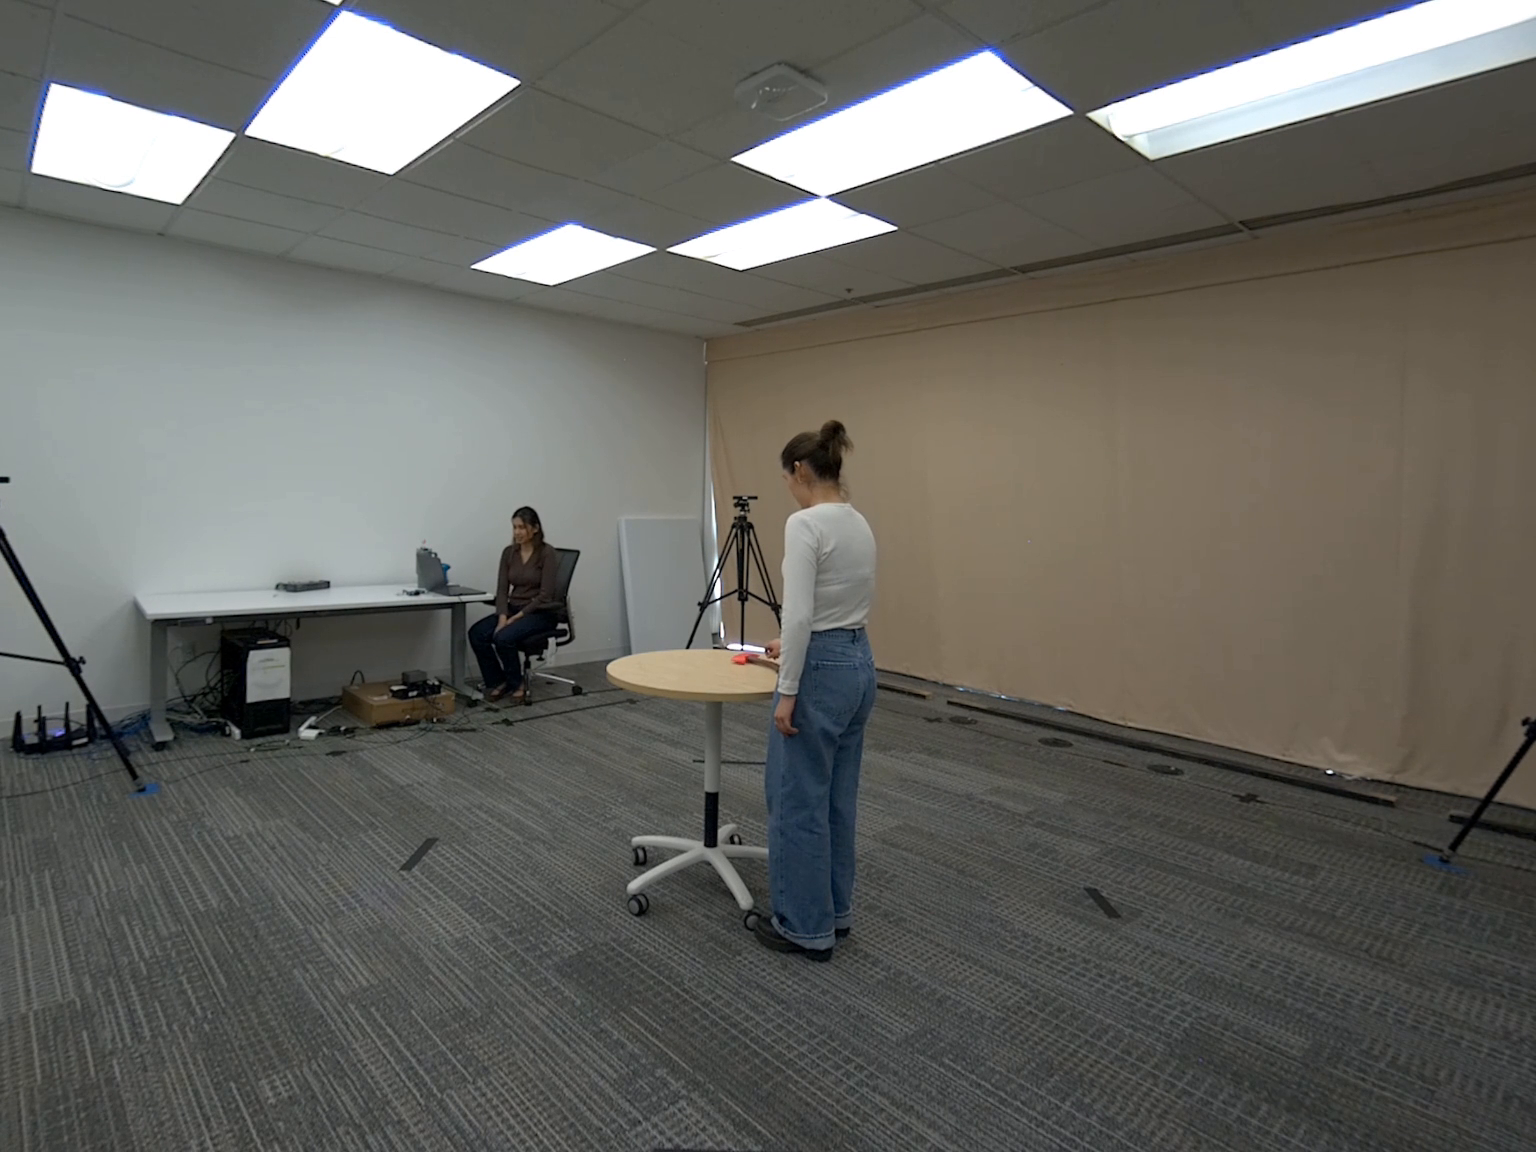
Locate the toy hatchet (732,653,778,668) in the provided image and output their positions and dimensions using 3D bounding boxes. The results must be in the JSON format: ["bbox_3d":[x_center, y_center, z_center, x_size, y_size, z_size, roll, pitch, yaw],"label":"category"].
[{"bbox_3d":[-0.049,0.319,3.037,0.129,0.029,0.275,-2,8,-23],"label":"toy hatchet"}]
